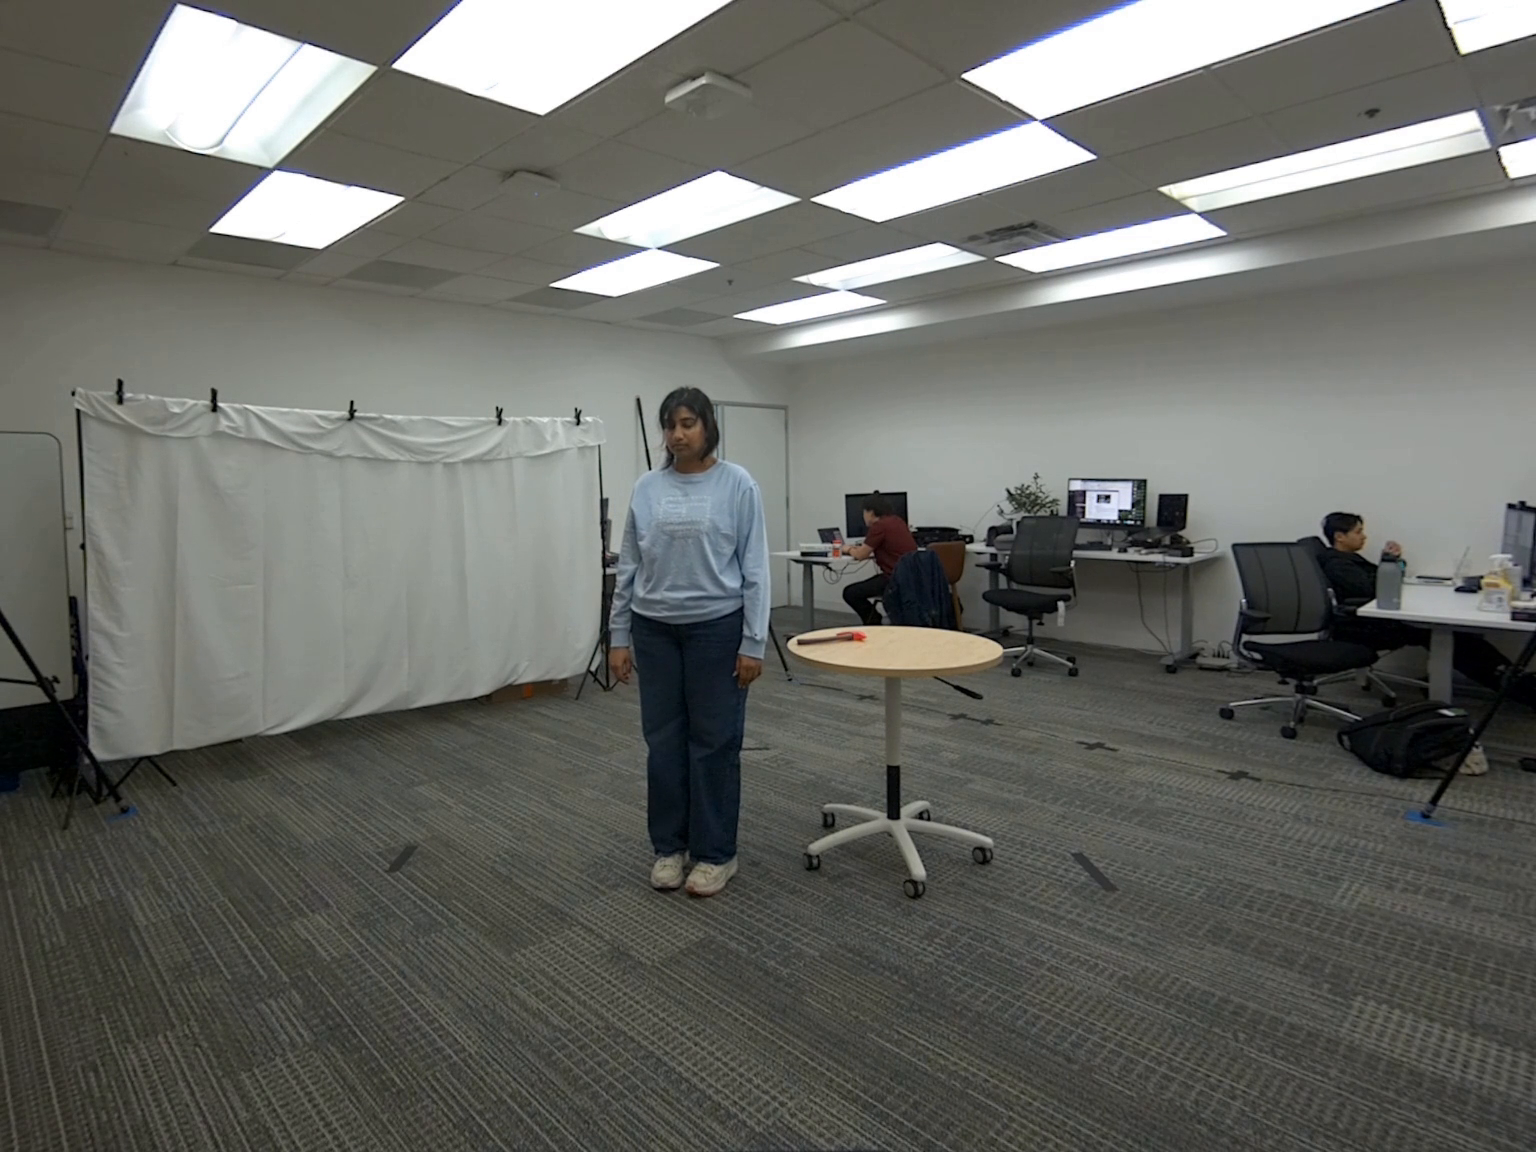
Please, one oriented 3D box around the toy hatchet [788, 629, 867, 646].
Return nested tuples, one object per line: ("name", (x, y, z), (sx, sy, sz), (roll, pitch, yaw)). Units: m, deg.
("toy hatchet", (0.225, 0.229, 3.221), (0.268, 0.029, 0.133), (-3, 7, -9))
